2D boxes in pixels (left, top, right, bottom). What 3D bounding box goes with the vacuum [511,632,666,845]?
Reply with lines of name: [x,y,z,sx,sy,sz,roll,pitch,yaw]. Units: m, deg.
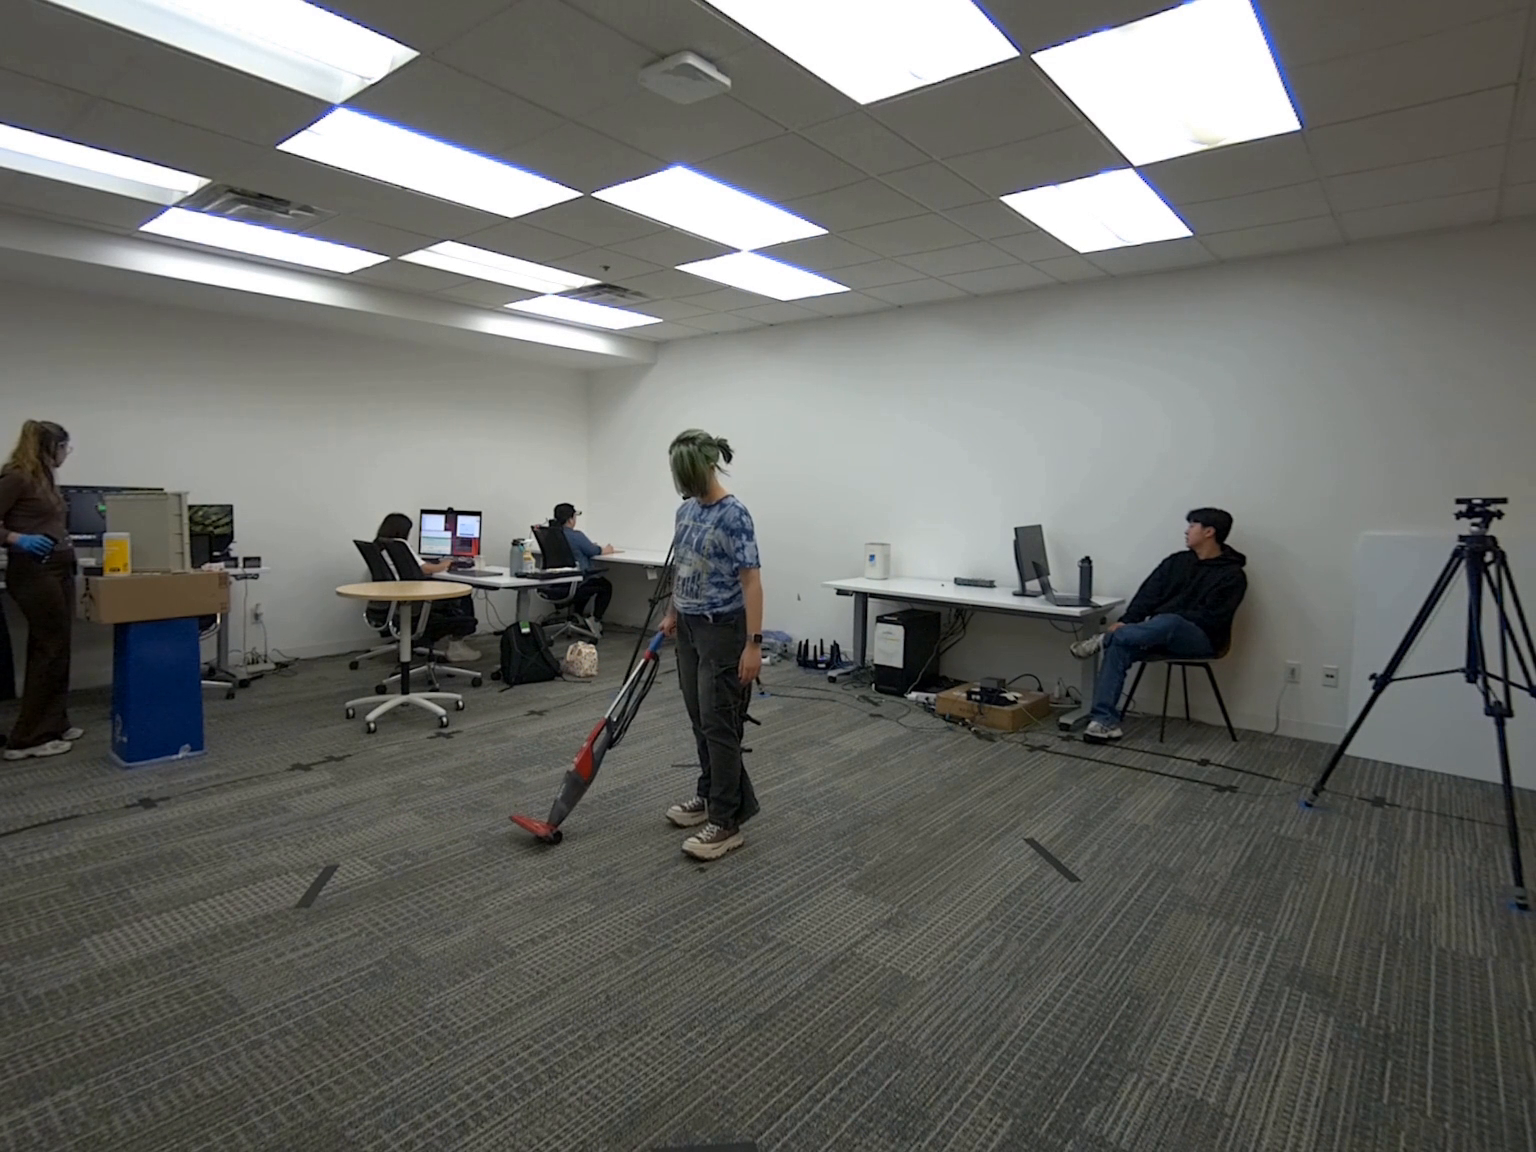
vacuum: [-0.657,0.613,3.550,0.261,1.053,0.138,6,-38,44]
